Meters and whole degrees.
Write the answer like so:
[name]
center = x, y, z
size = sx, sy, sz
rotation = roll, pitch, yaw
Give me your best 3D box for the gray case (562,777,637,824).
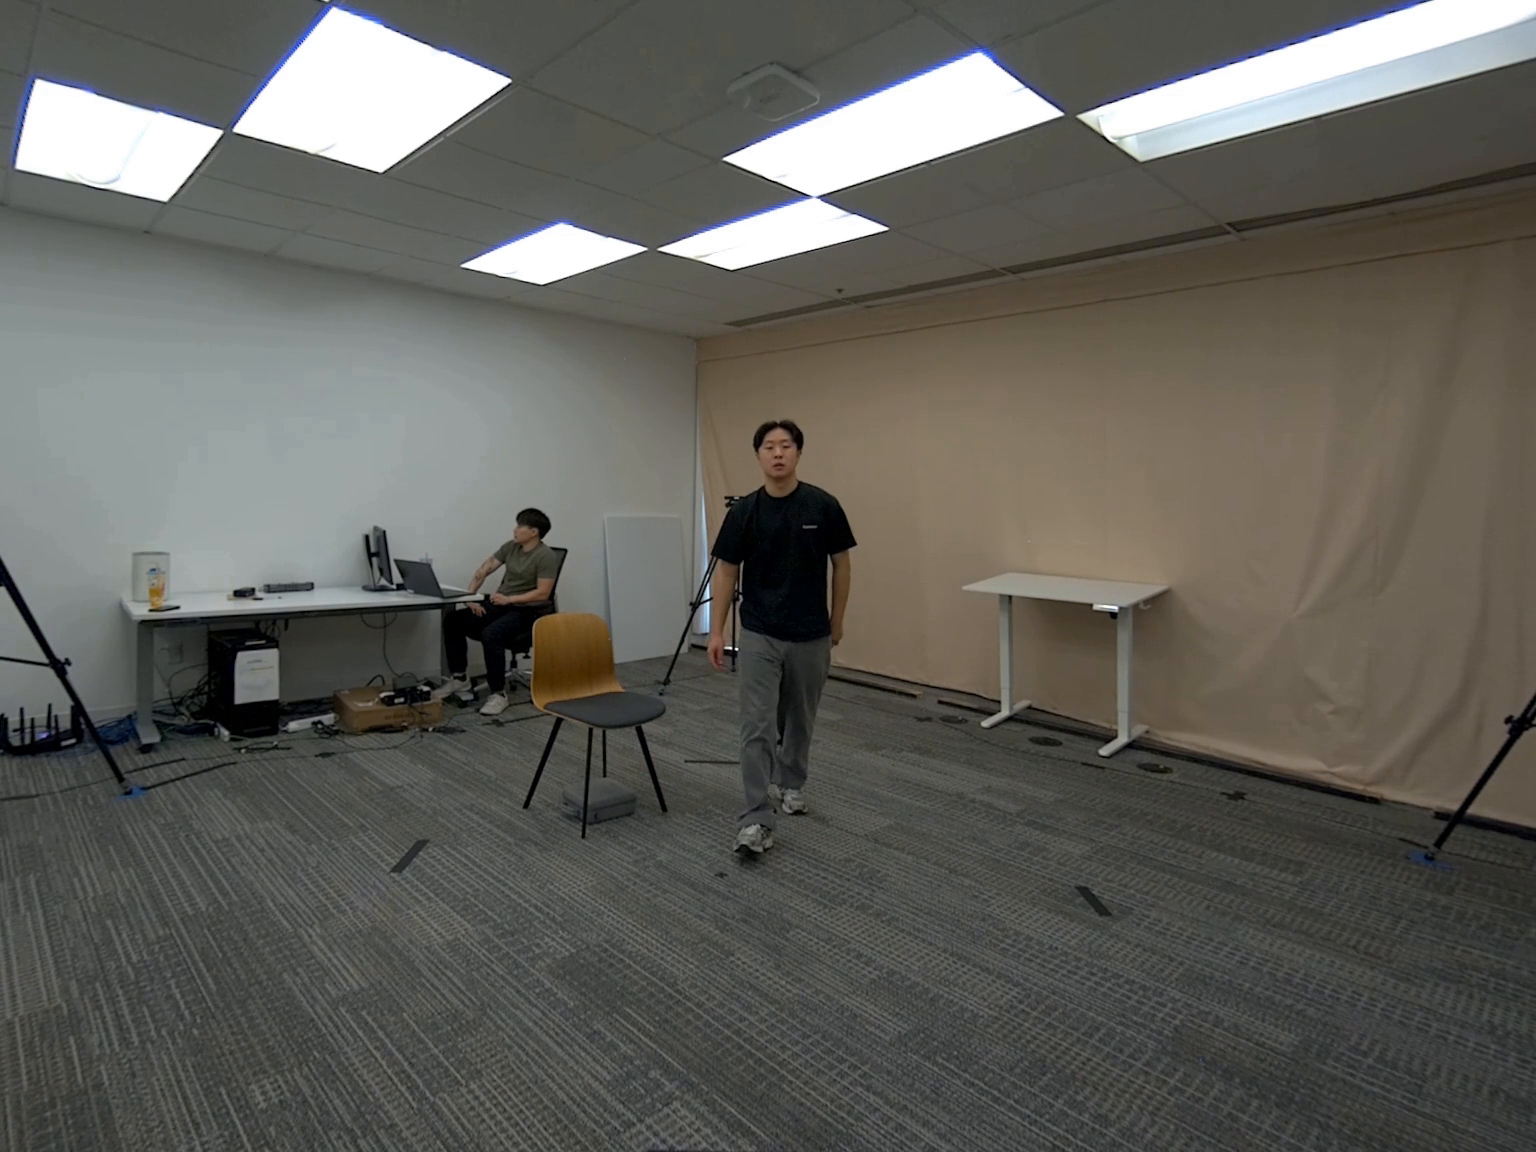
[gray case]
center = -0.758, 0.976, 3.691
size = 0.281, 0.103, 0.270
rotation = -3, 6, -37
